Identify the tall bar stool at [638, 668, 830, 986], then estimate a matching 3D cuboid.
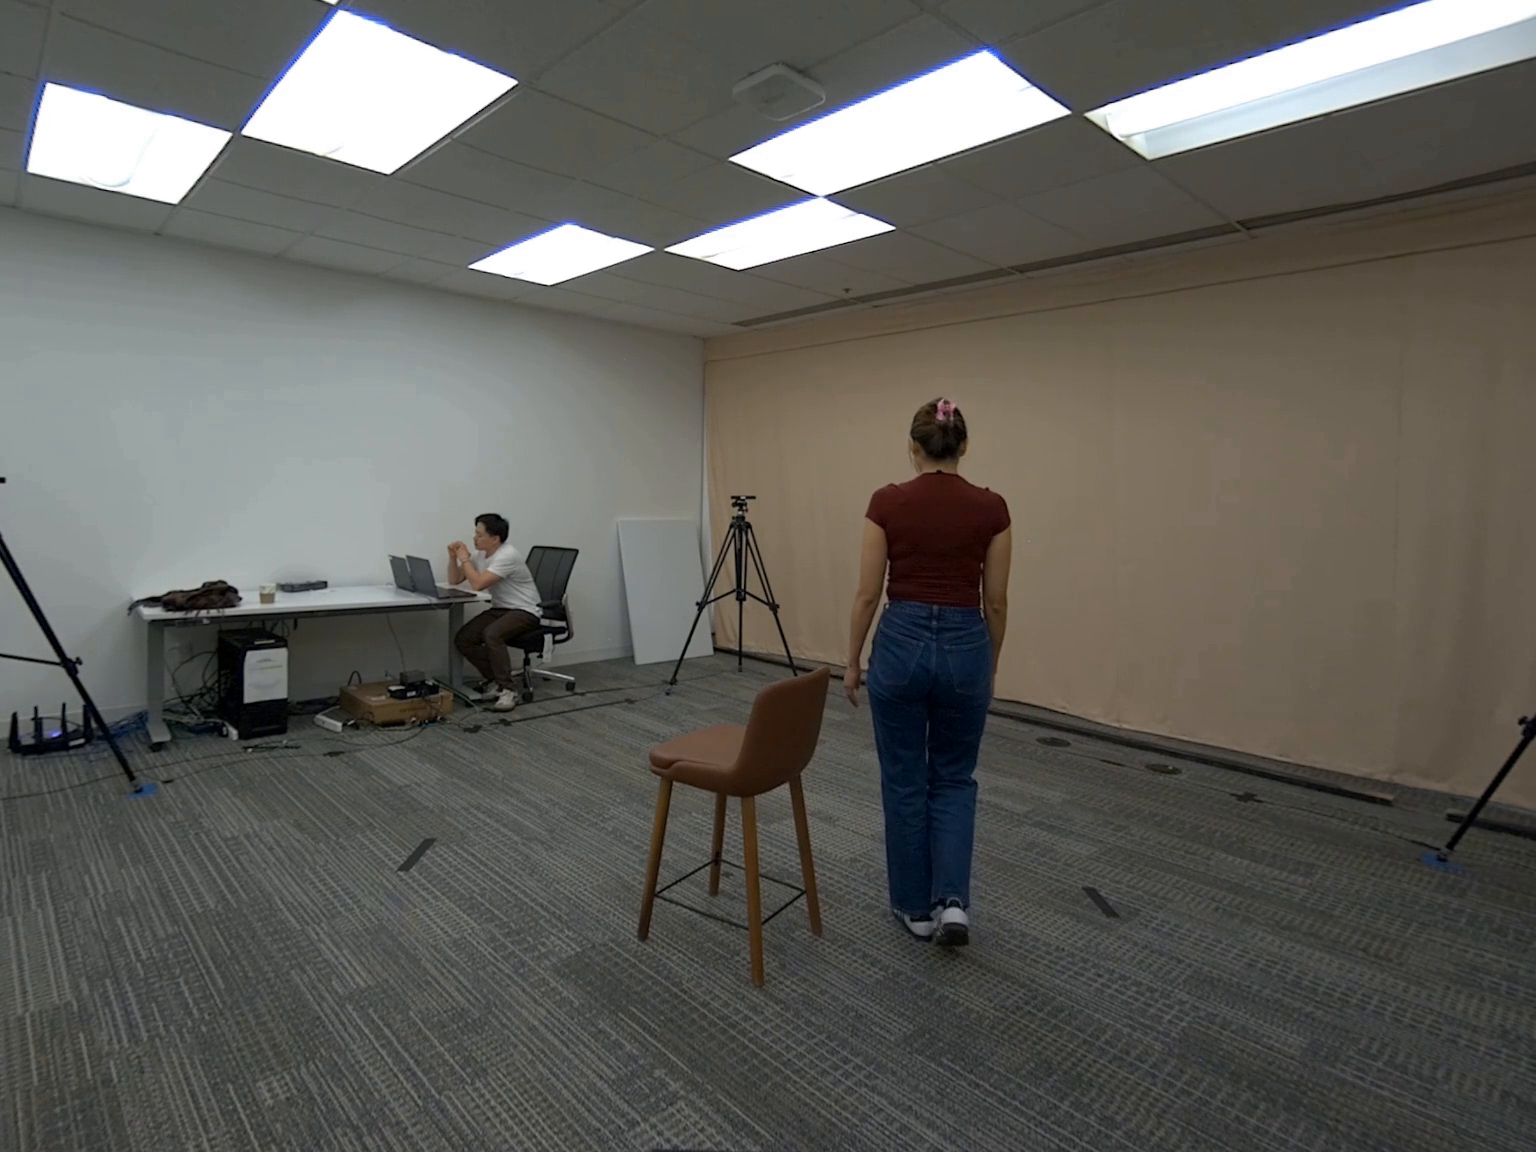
[{"bbox_3d":[-0.103,0.710,2.639,0.479,0.886,0.447,6,6,34],"label":"tall bar stool"}]
